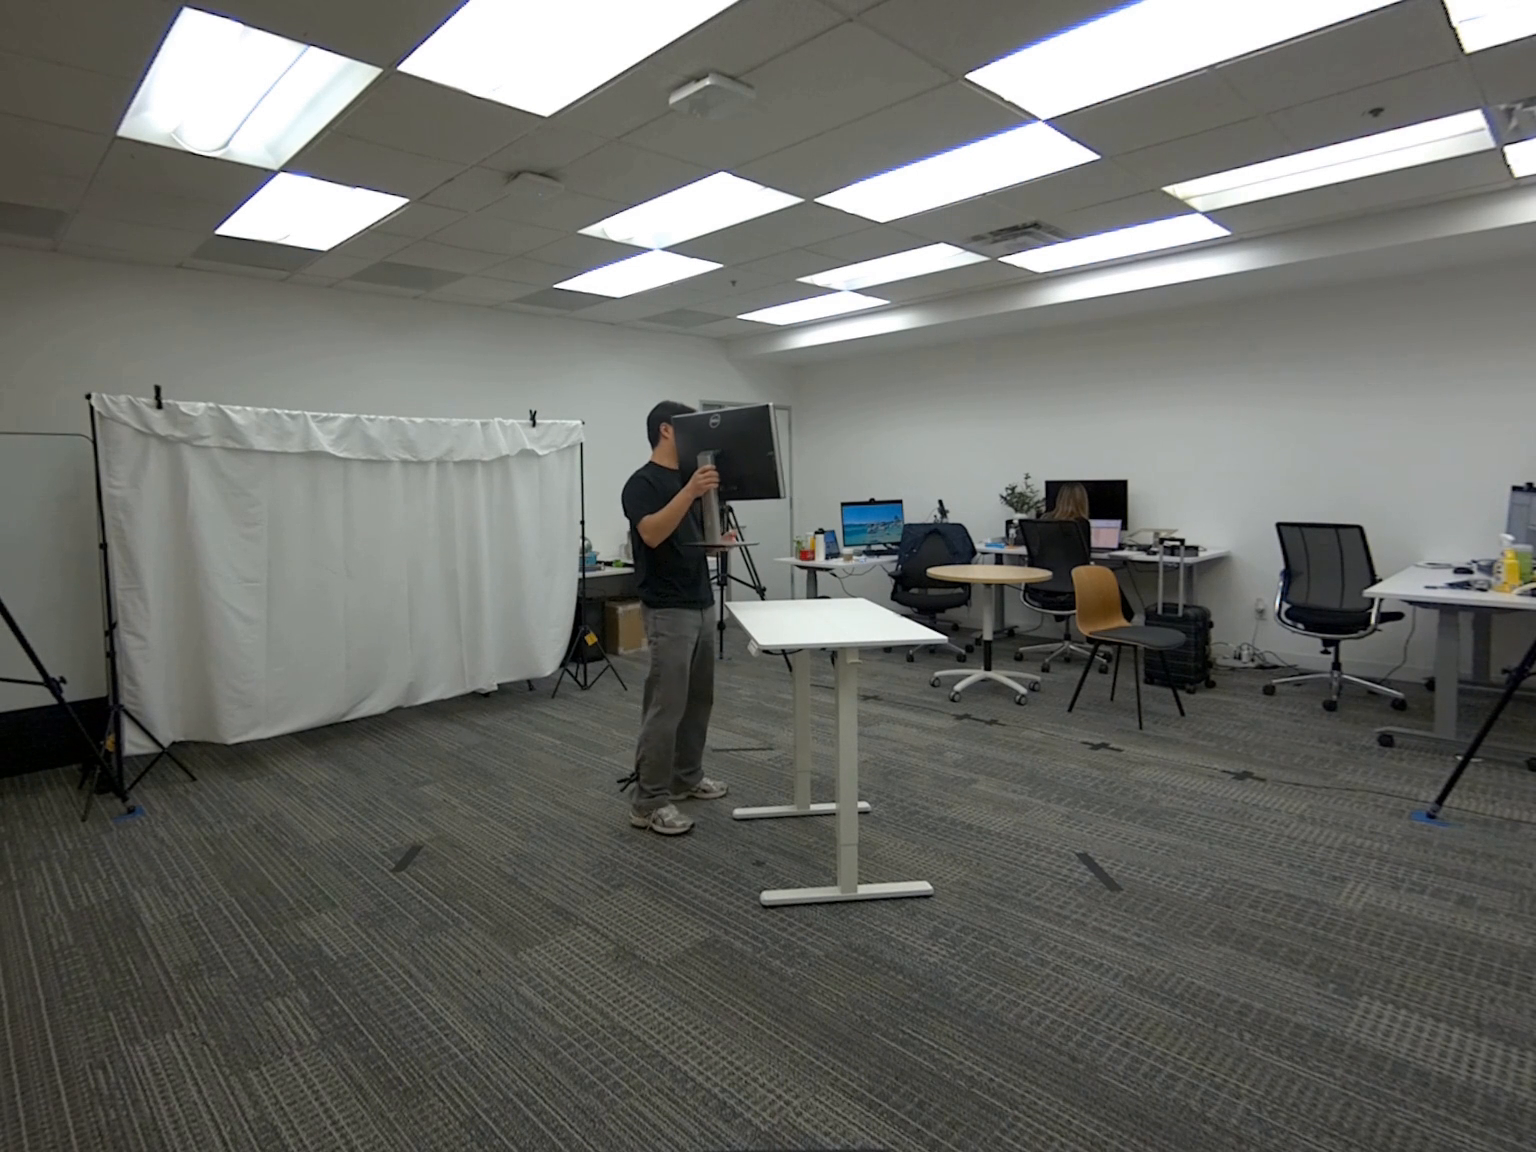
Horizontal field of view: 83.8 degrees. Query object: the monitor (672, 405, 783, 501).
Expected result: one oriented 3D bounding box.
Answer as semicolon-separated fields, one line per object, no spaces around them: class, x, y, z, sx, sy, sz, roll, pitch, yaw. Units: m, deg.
monitor;-0.192;-0.375;3.375;0.215;0.566;0.579;3;0;-42
